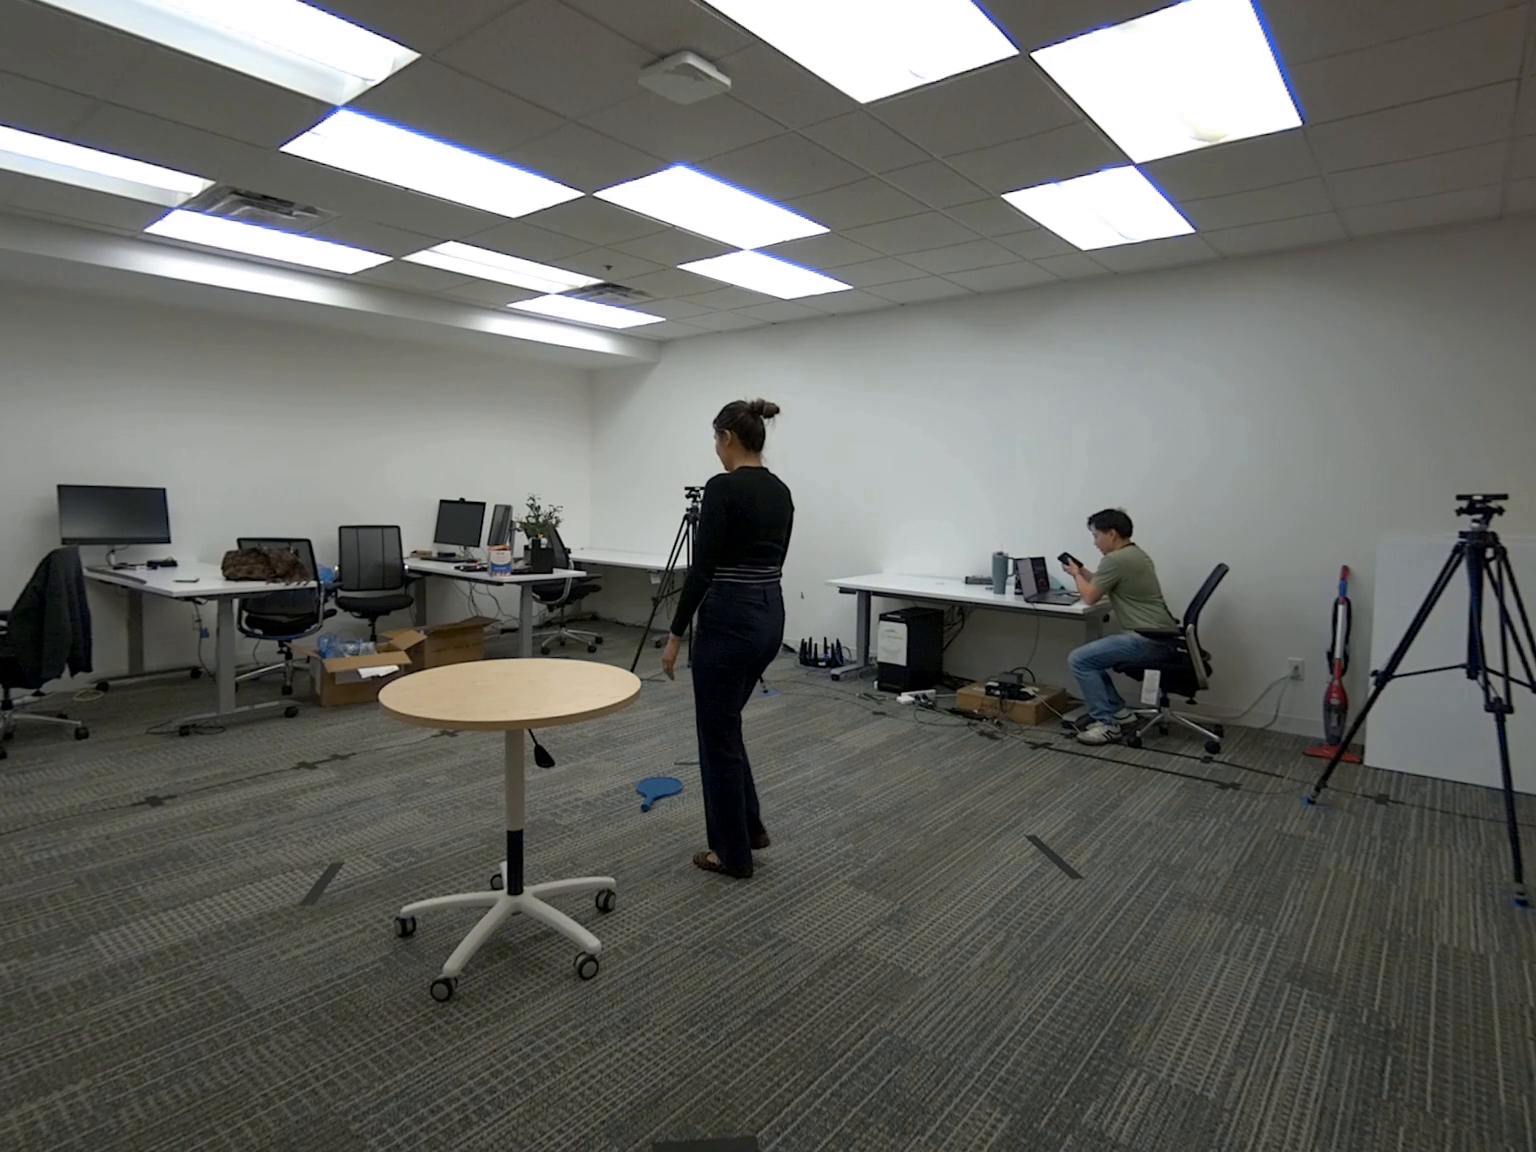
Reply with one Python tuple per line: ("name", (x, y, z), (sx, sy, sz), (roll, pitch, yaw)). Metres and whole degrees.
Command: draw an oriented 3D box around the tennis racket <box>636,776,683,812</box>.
("tennis racket", (-0.517, 0.974, 3.848), (0.215, 0.031, 0.431), (1, 4, 5))
